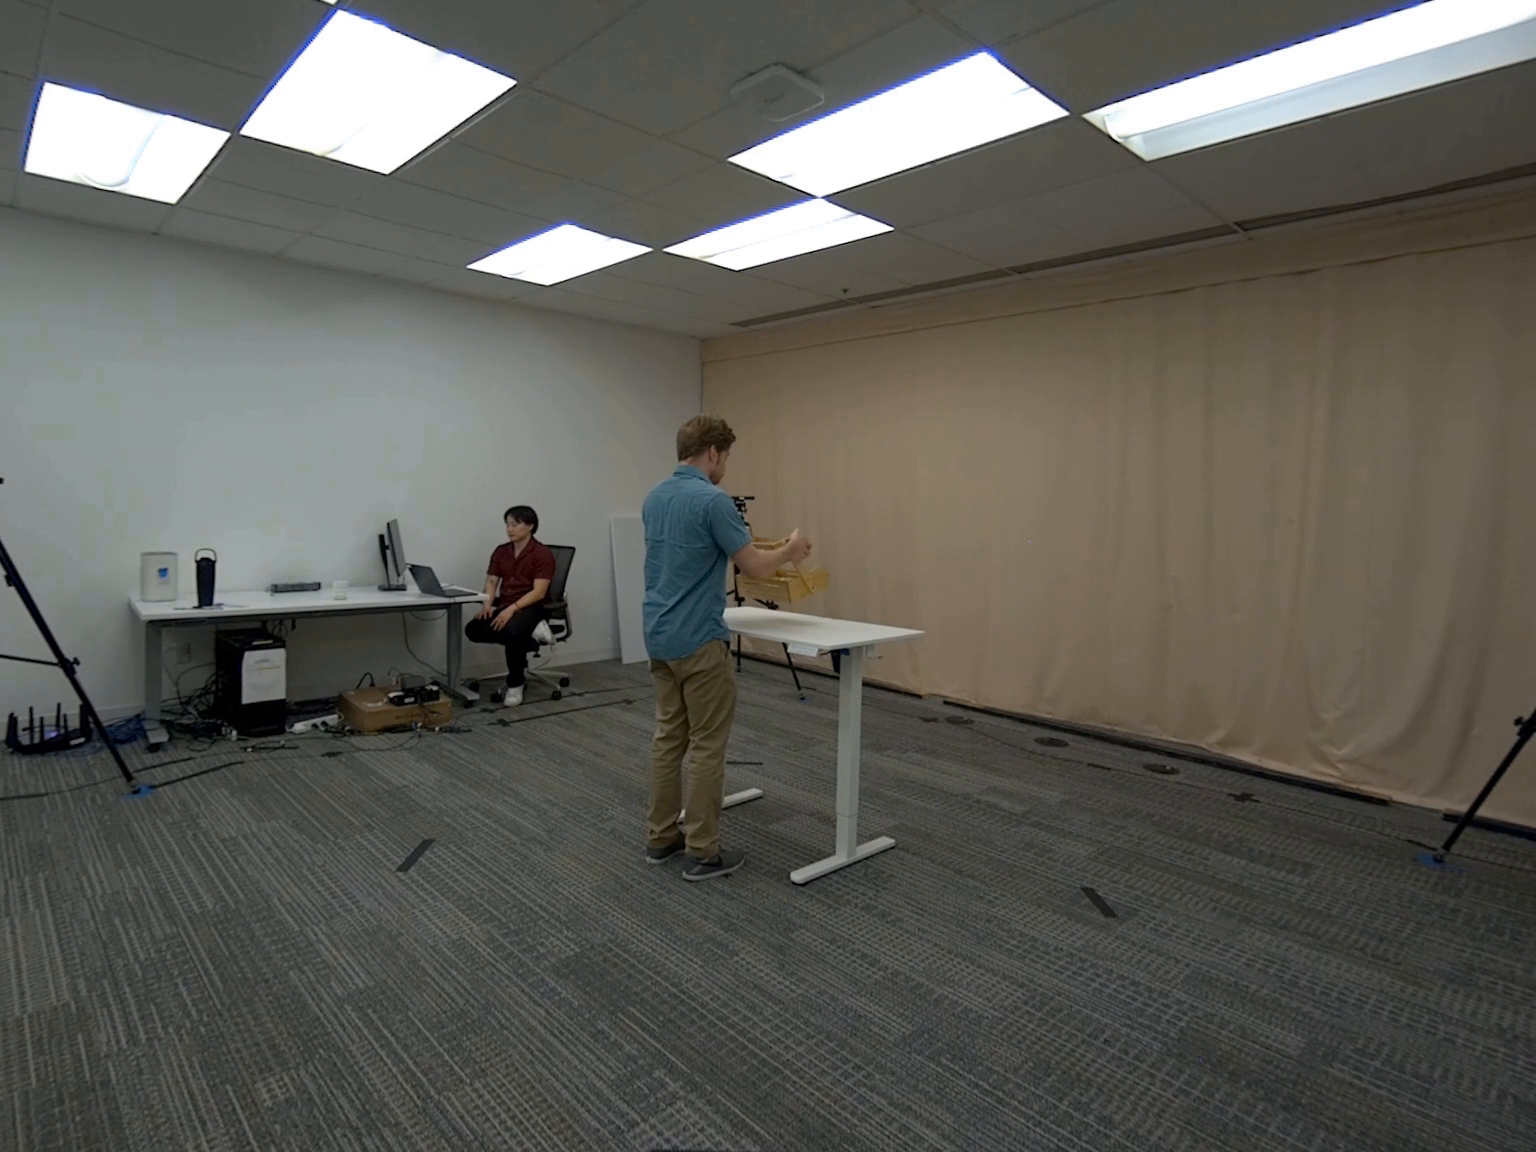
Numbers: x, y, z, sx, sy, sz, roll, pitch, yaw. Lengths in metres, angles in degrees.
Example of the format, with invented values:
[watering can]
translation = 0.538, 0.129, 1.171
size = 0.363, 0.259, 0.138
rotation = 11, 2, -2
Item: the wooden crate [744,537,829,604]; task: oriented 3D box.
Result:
[wooden crate]
translation = 0.027, -0.052, 3.471
size = 0.333, 0.270, 0.298
rotation = 6, 21, 44
